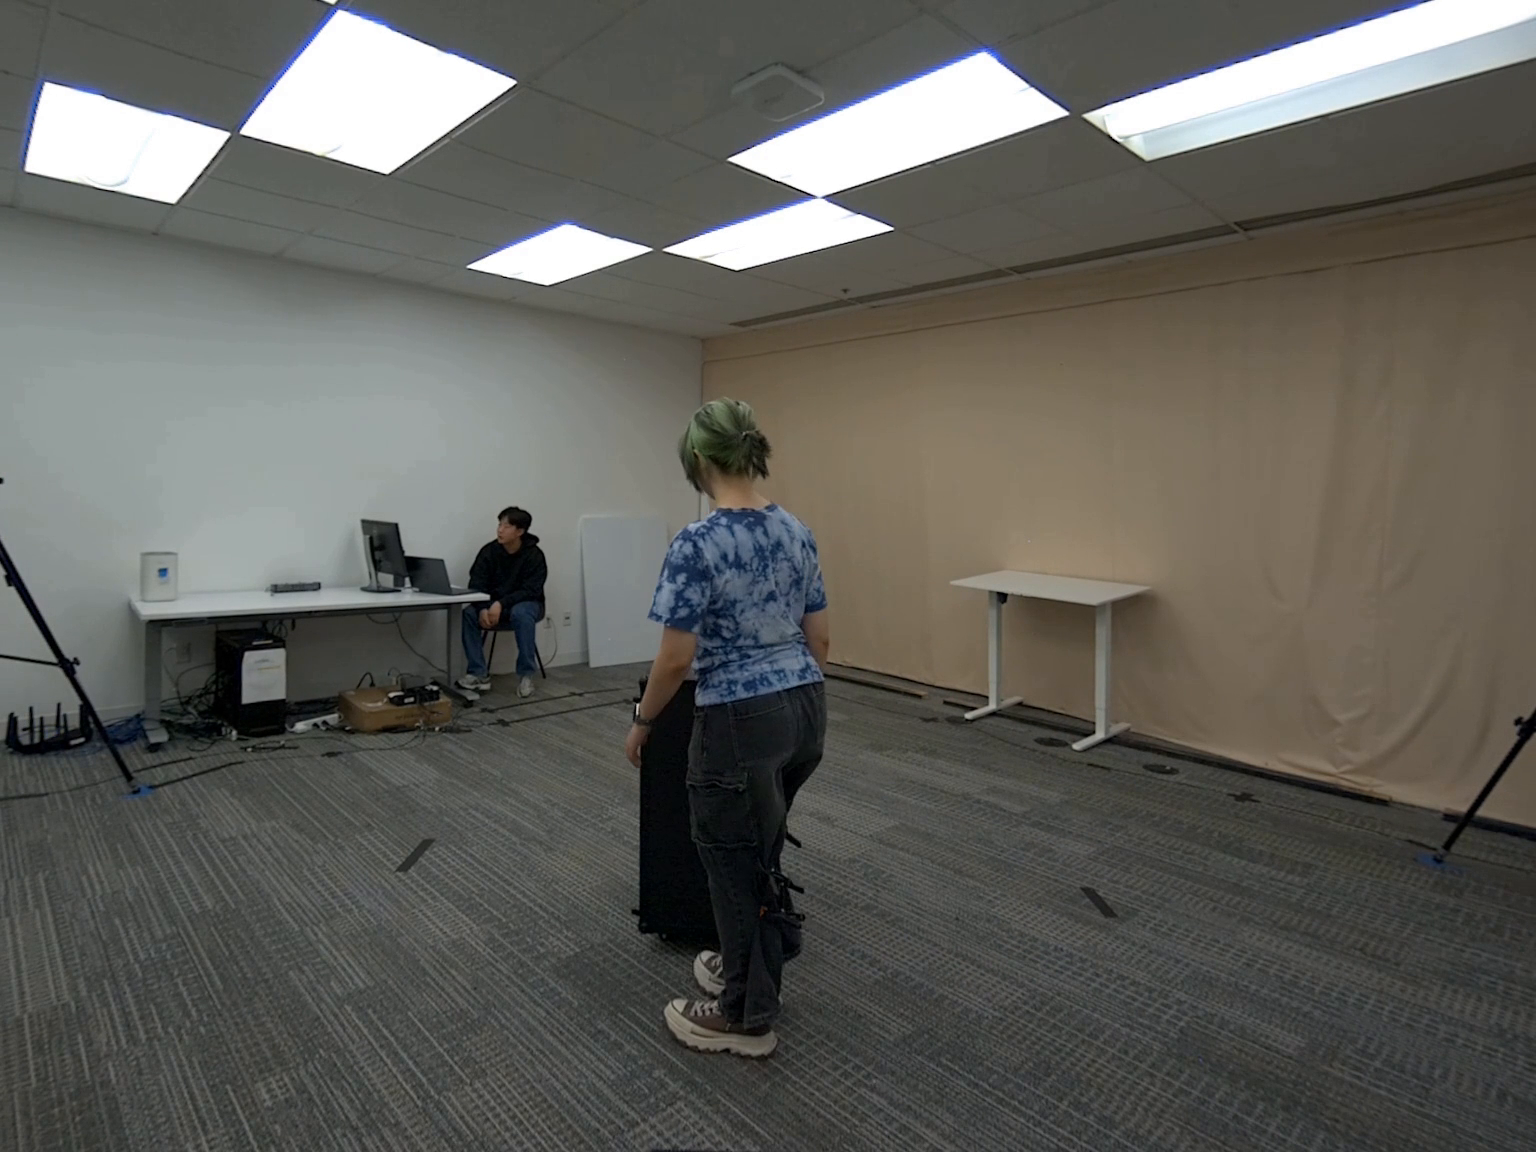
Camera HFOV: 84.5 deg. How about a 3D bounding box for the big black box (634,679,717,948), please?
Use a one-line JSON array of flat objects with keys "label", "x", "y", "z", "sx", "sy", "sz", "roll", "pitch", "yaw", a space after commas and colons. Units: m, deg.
[{"label": "big black box", "x": -0.207, "y": 0.719, "z": 2.736, "sx": 0.398, "sy": 0.859, "sz": 0.519, "roll": 0, "pitch": 3, "yaw": 6}]
